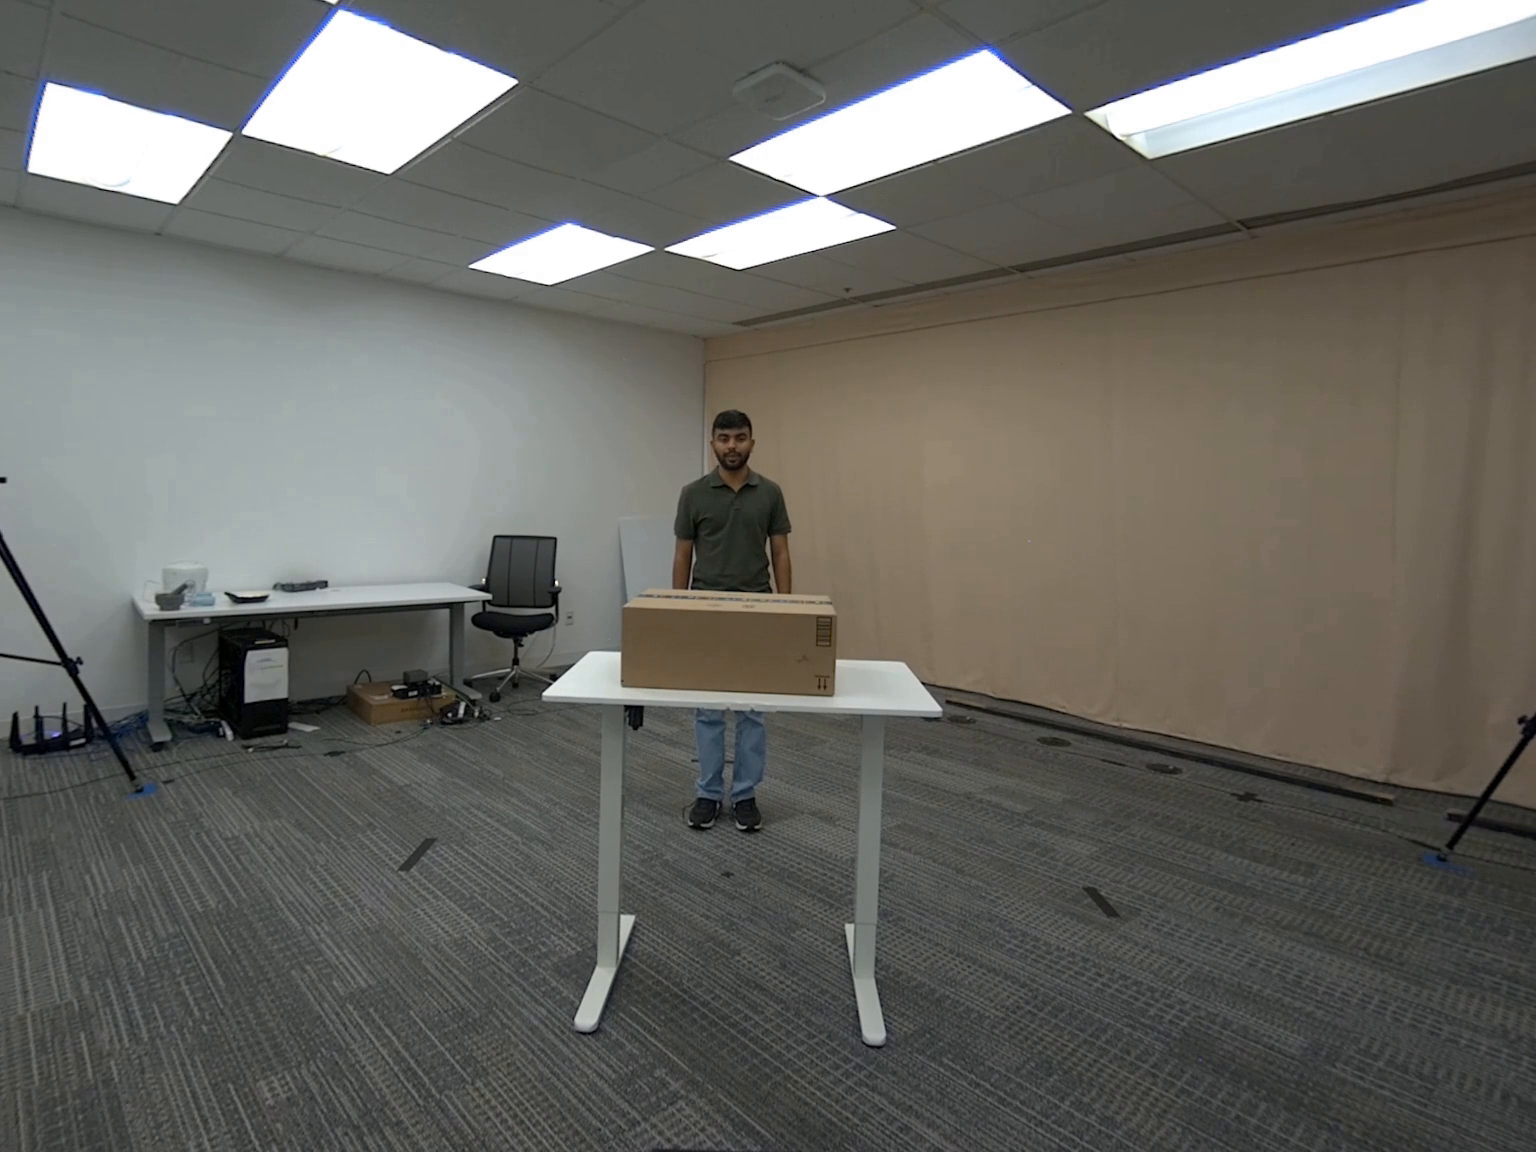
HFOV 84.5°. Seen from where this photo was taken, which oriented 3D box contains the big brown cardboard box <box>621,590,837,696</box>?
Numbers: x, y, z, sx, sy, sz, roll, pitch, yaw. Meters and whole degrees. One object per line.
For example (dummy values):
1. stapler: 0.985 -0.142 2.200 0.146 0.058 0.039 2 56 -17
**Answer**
1. big brown cardboard box: -0.115 0.180 2.398 0.591 0.232 0.417 1 5 4
